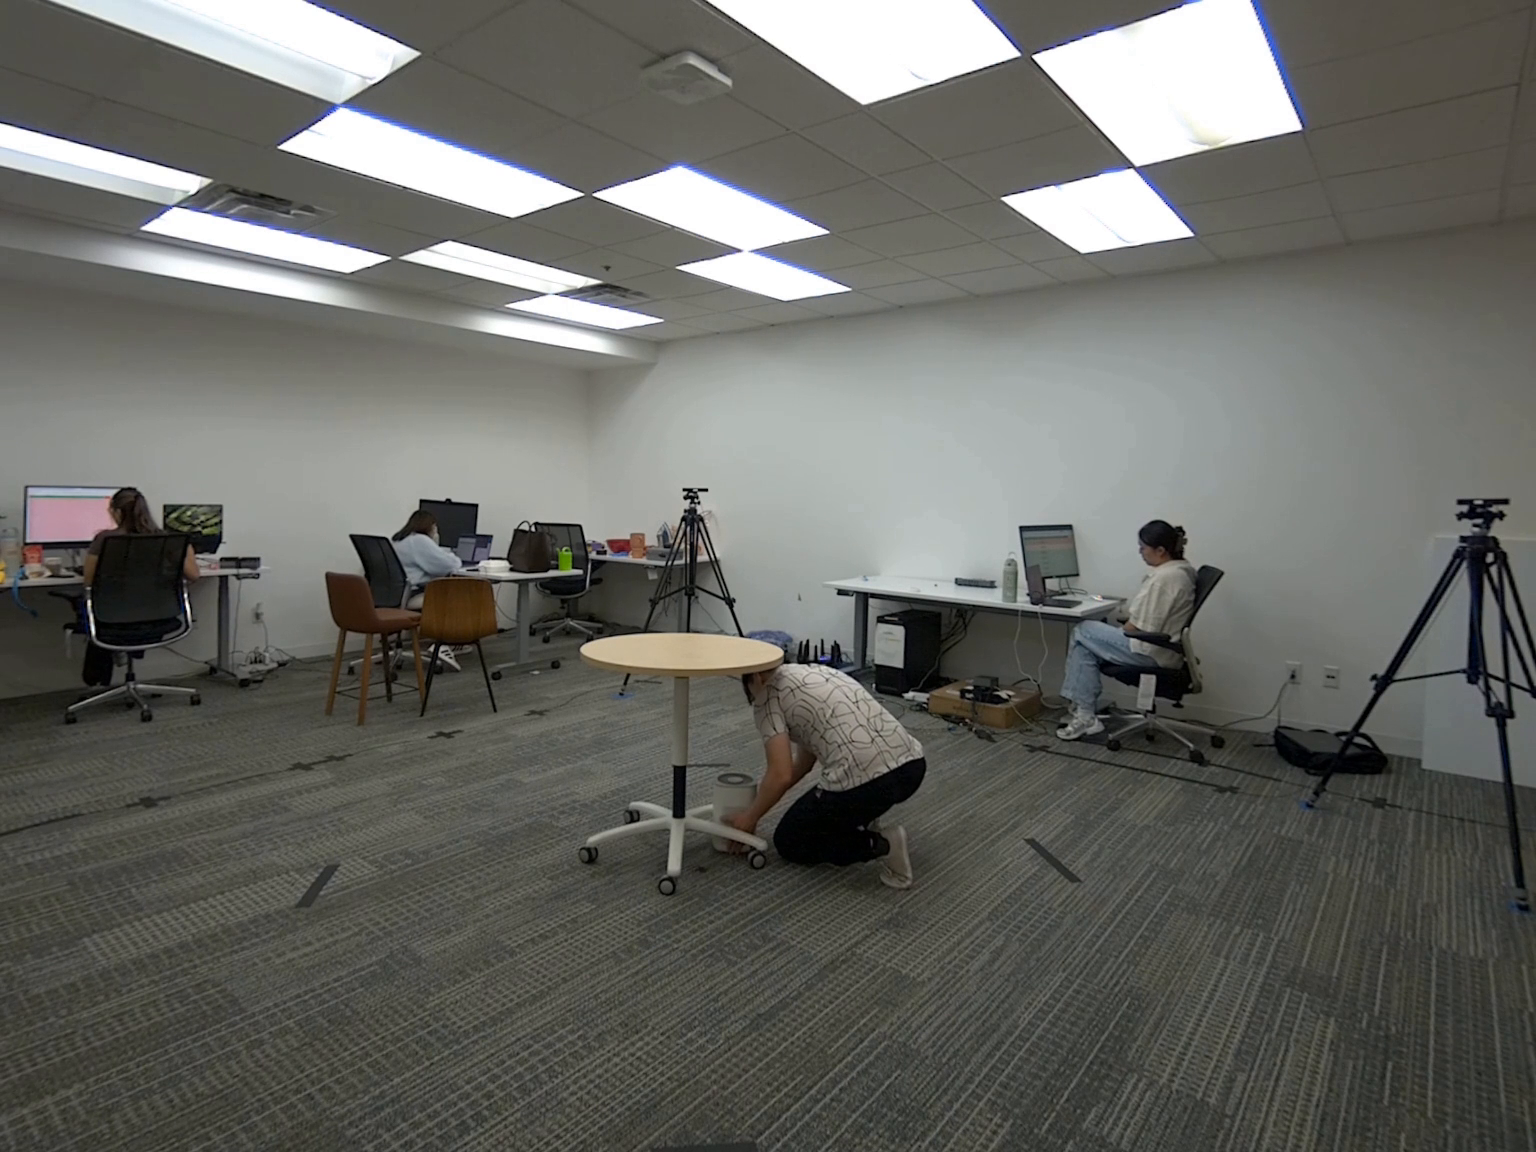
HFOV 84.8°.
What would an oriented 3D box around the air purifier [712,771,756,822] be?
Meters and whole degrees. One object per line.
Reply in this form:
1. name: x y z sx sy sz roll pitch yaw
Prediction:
1. air purifier: -0.142 0.920 3.317 0.171 0.264 0.172 0 4 -5
